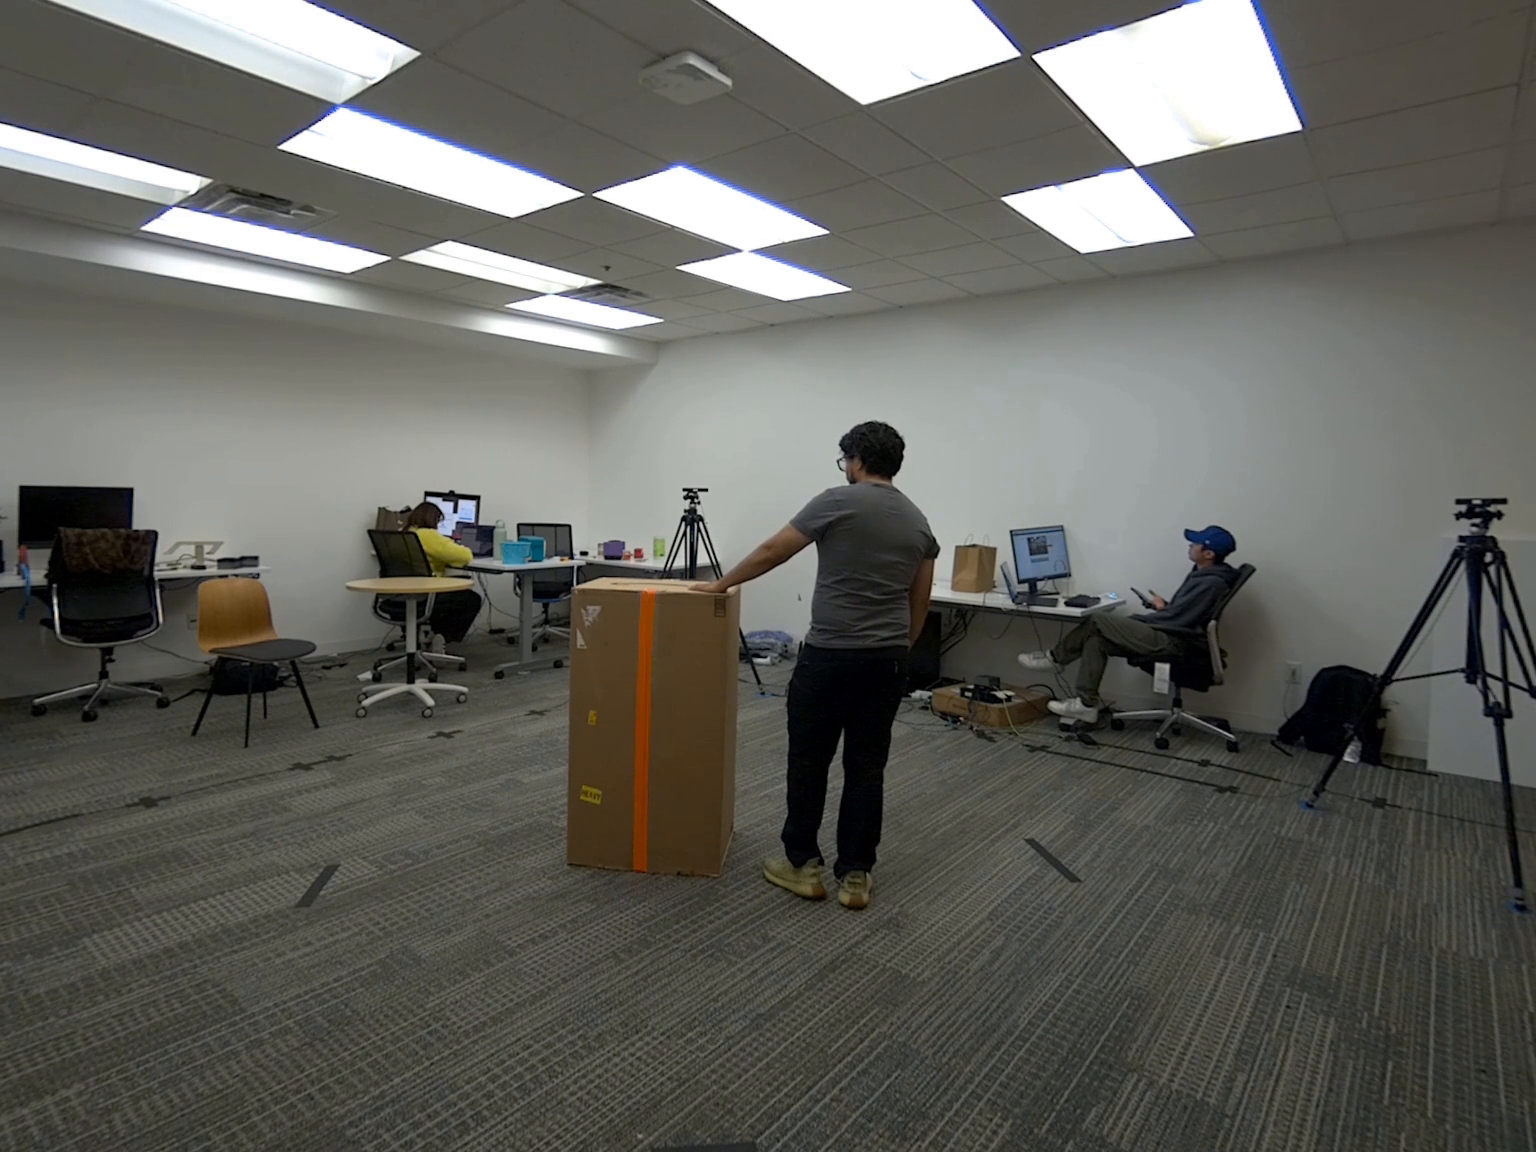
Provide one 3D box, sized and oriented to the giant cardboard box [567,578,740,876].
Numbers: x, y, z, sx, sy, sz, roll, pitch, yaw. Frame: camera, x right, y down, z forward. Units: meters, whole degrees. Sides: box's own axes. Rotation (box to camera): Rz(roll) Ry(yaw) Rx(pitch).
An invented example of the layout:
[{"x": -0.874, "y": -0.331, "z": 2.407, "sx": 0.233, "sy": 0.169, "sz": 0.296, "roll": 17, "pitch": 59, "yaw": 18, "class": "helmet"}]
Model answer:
[{"x": -0.436, "y": 0.539, "z": 3.266, "sx": 0.583, "sy": 1.023, "sz": 0.423, "roll": 2, "pitch": 3, "yaw": 7, "class": "giant cardboard box"}]
